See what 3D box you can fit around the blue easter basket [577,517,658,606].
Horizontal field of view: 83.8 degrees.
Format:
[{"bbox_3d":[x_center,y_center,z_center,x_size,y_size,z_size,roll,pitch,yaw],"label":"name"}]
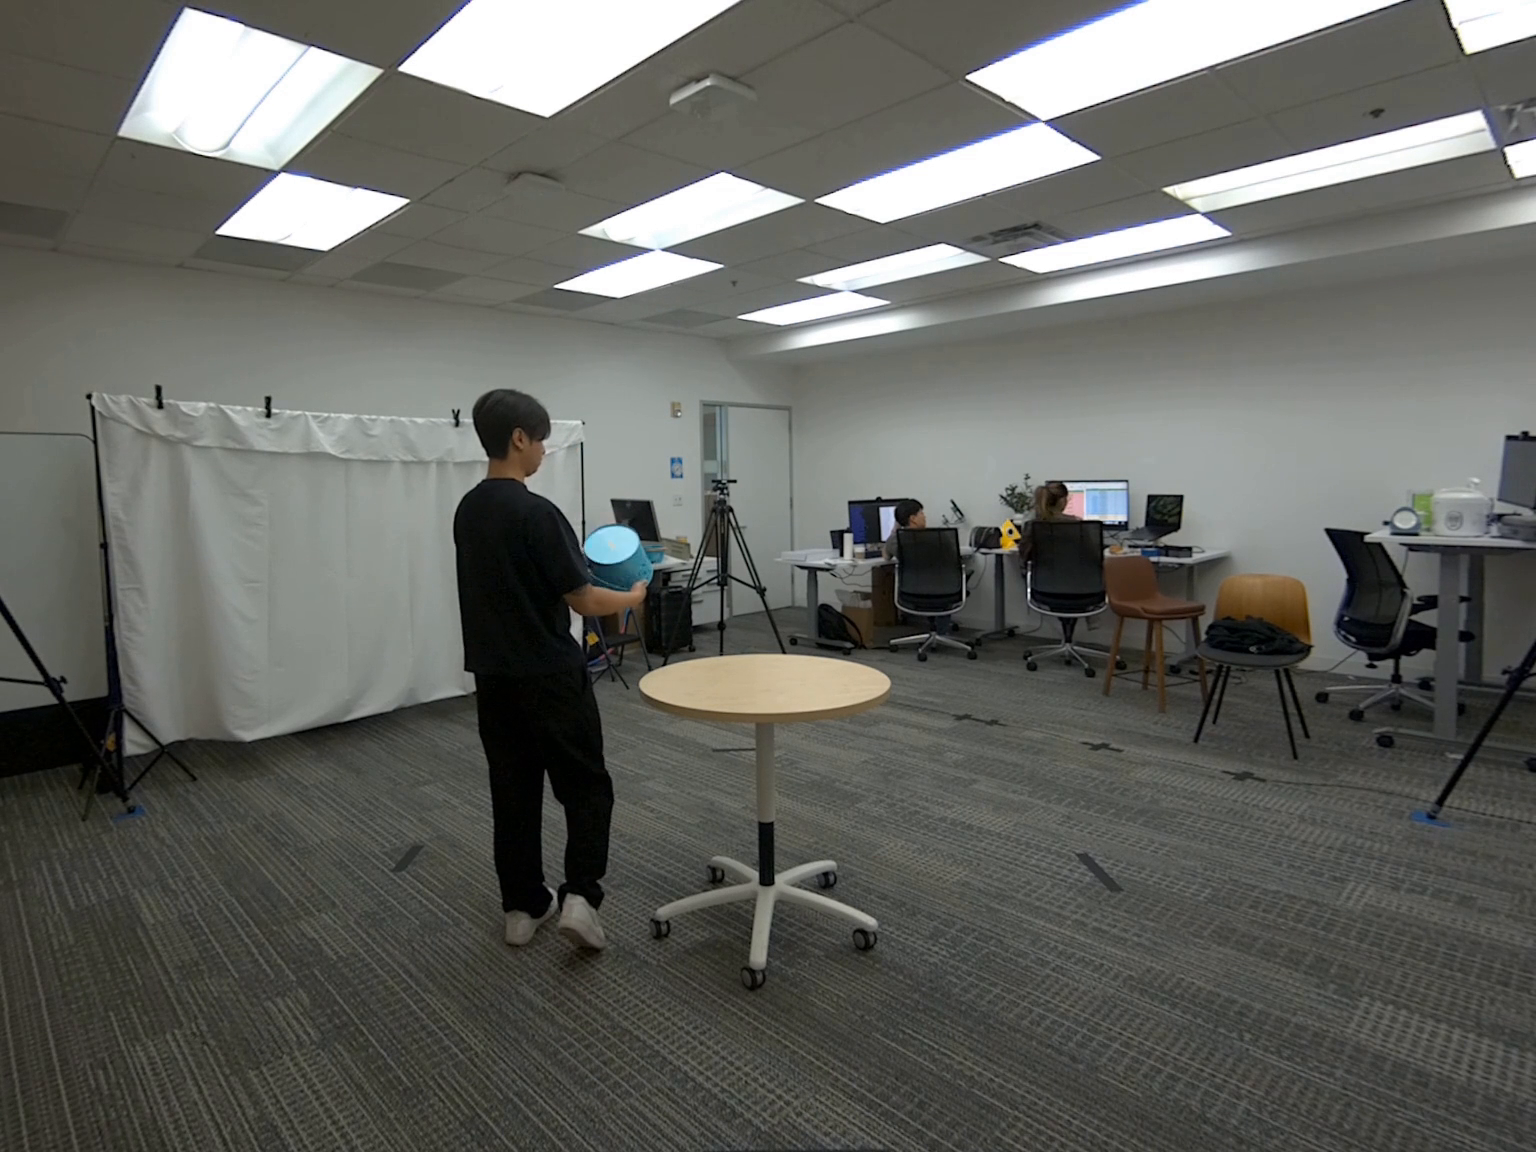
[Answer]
[{"bbox_3d":[-0.499,-0.048,2.802,0.244,0.151,0.250,-3,46,1],"label":"blue easter basket"}]
